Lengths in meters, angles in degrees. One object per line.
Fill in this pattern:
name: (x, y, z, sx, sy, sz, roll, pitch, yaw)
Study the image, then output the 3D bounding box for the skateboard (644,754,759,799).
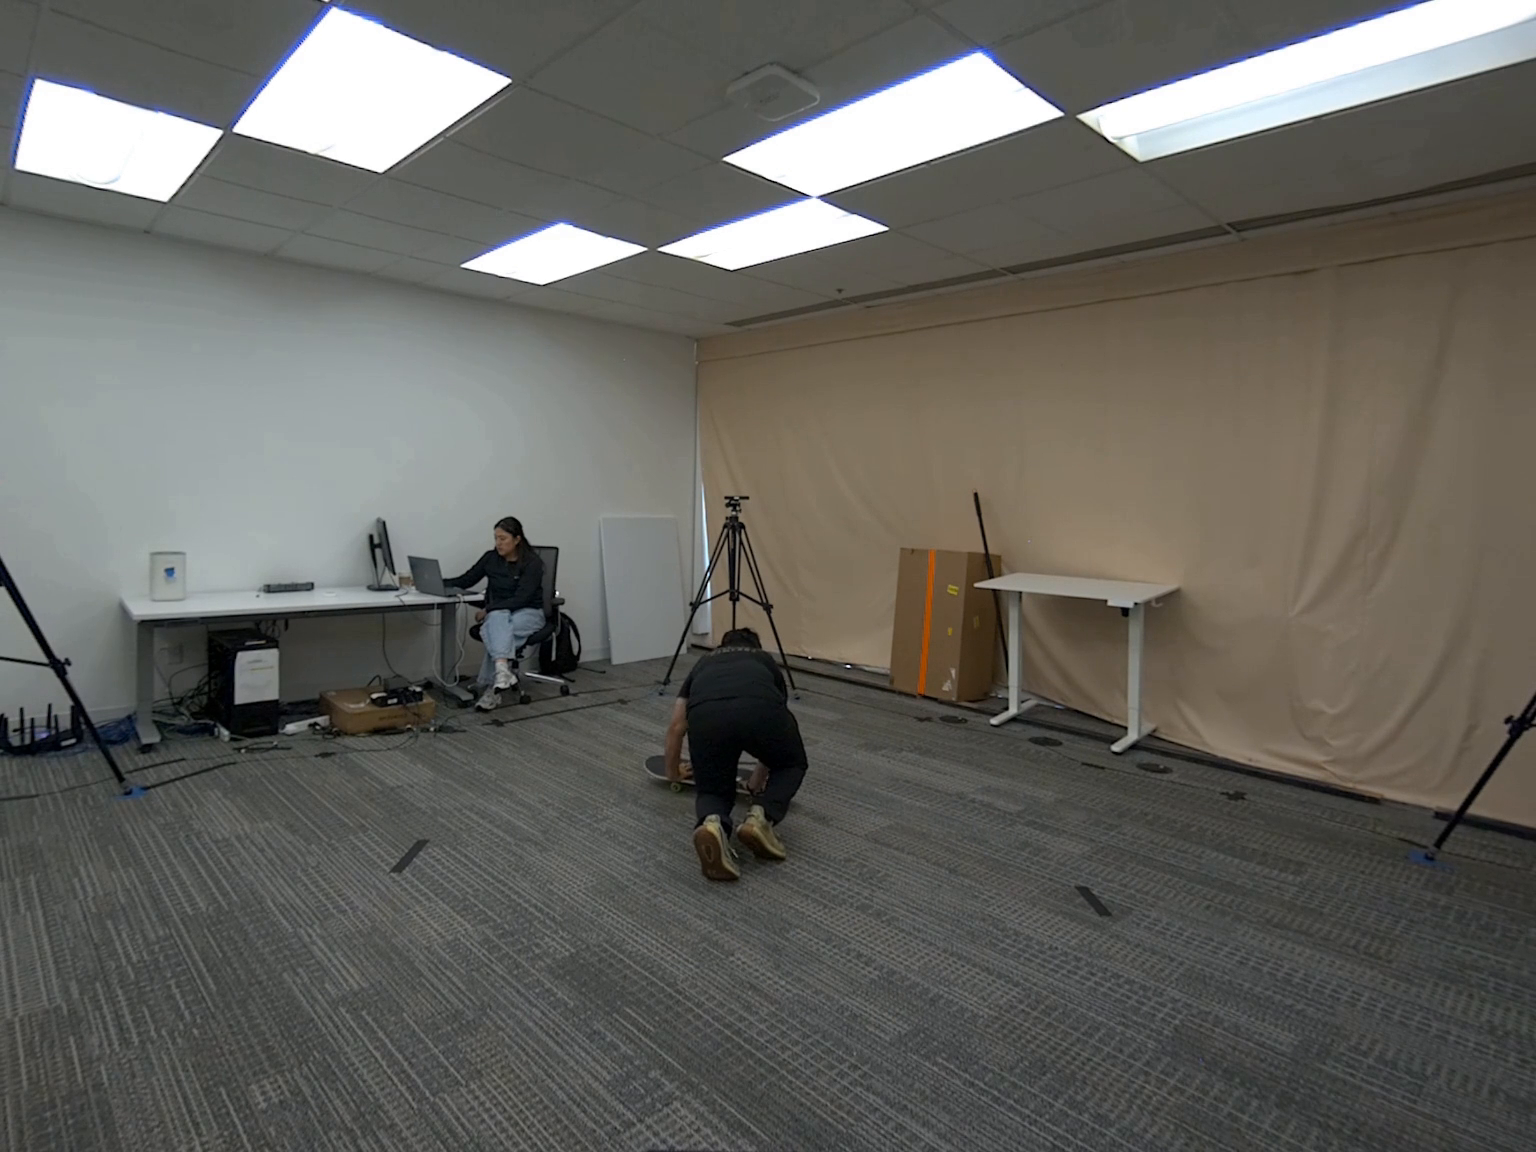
skateboard: (-0.229, 0.975, 3.968, 0.799, 0.109, 0.192, 4, 14, 22)
